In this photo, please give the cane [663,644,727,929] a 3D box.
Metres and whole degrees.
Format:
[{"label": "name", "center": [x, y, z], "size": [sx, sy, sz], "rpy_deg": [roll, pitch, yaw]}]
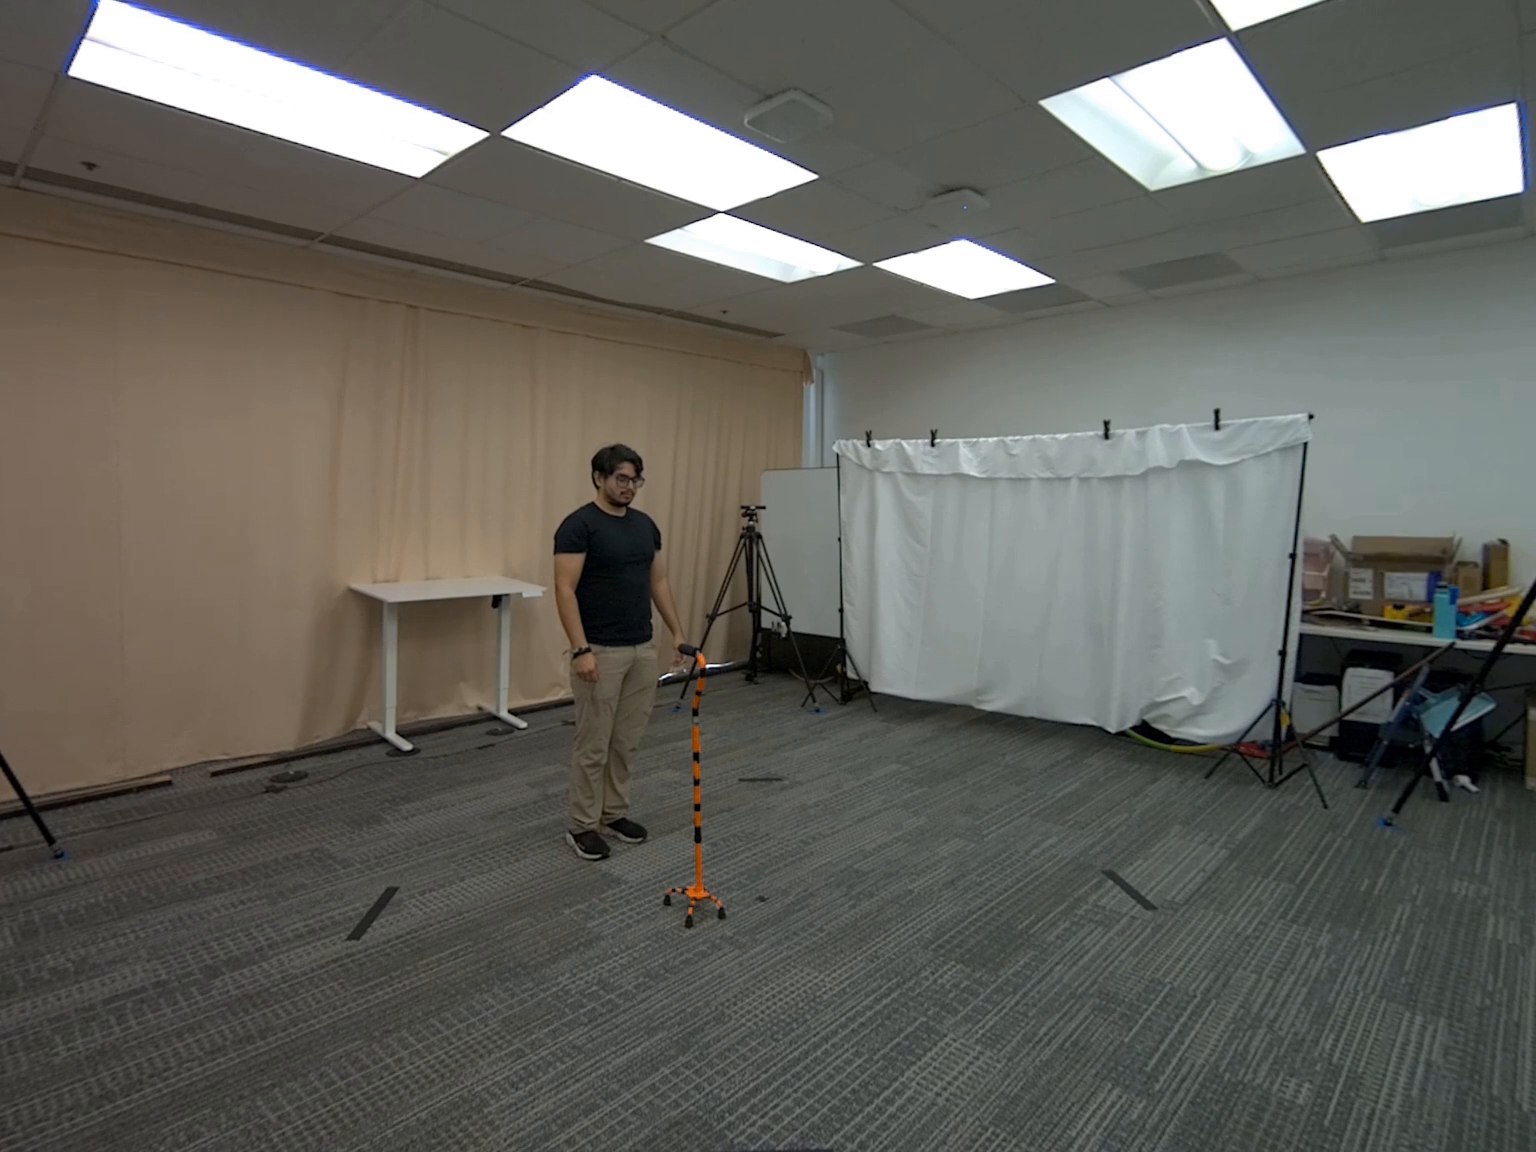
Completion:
[{"label": "cane", "center": [-0.259, 0.702, 2.879], "size": [0.148, 0.906, 0.212], "rpy_deg": [-2, 2, -28]}]
